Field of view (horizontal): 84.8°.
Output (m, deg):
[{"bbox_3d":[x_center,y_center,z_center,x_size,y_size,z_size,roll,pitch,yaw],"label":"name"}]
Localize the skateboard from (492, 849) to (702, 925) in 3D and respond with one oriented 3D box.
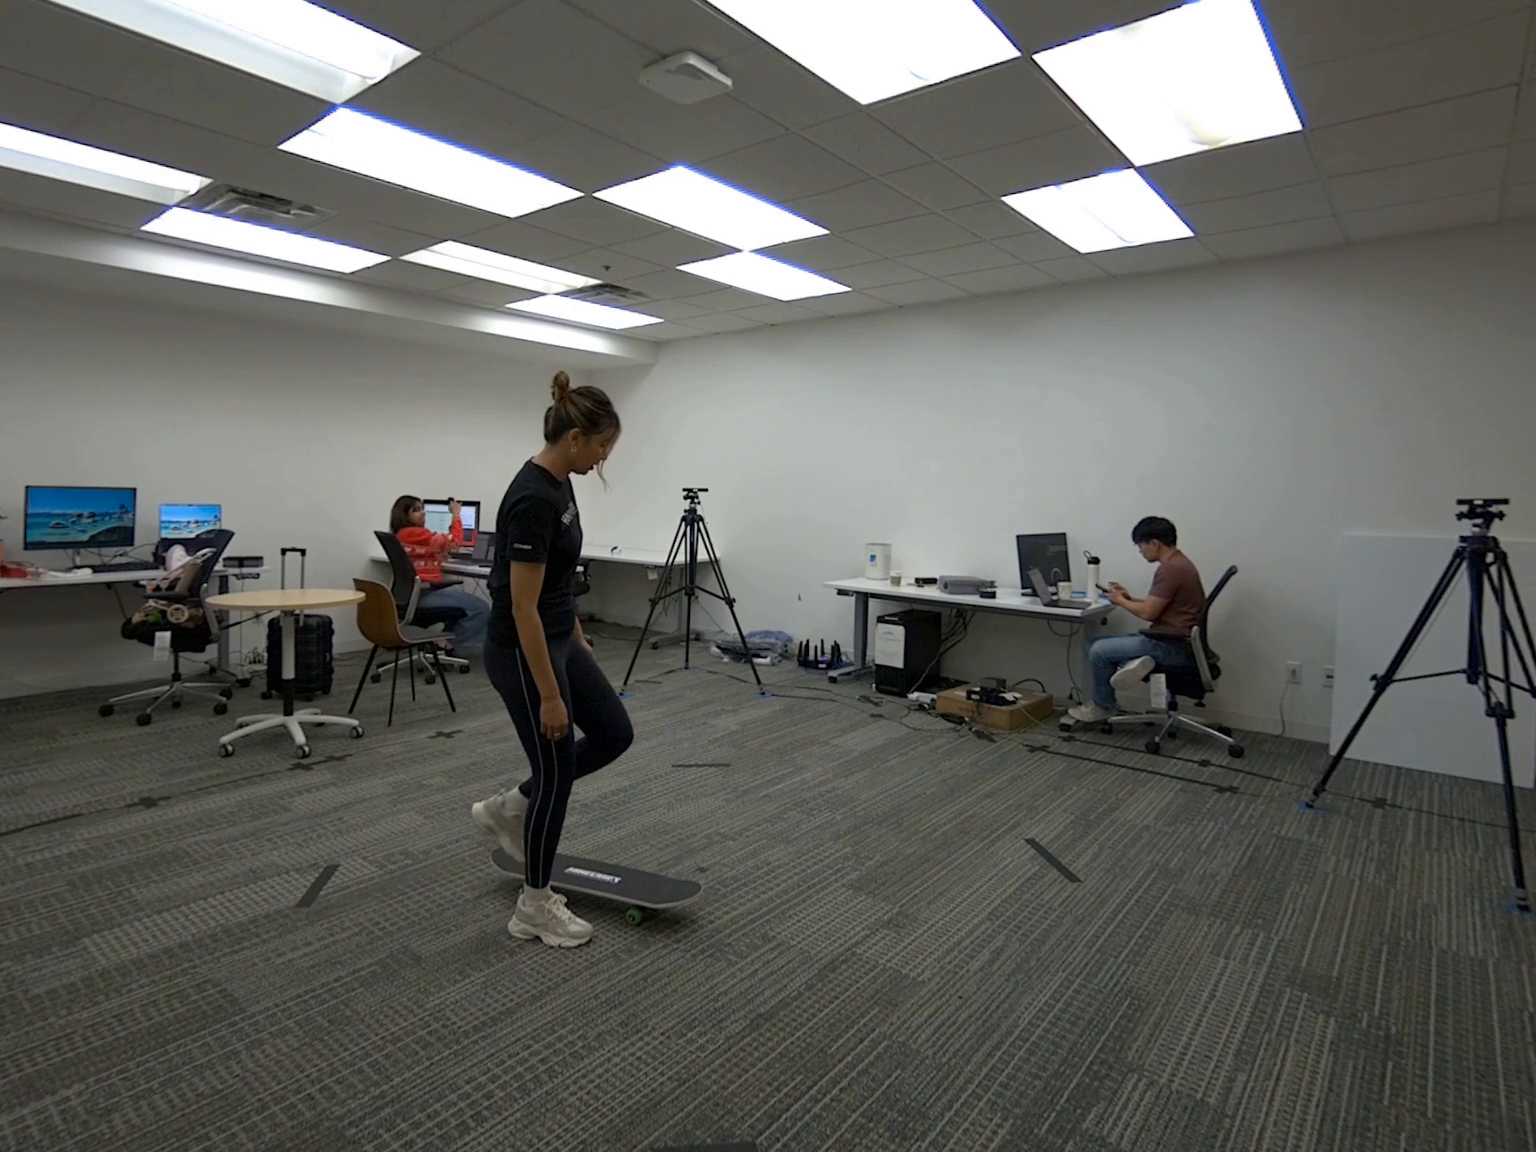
[{"bbox_3d":[-0.597,1.028,2.846,0.804,0.110,0.190,3,6,22],"label":"skateboard"}]
